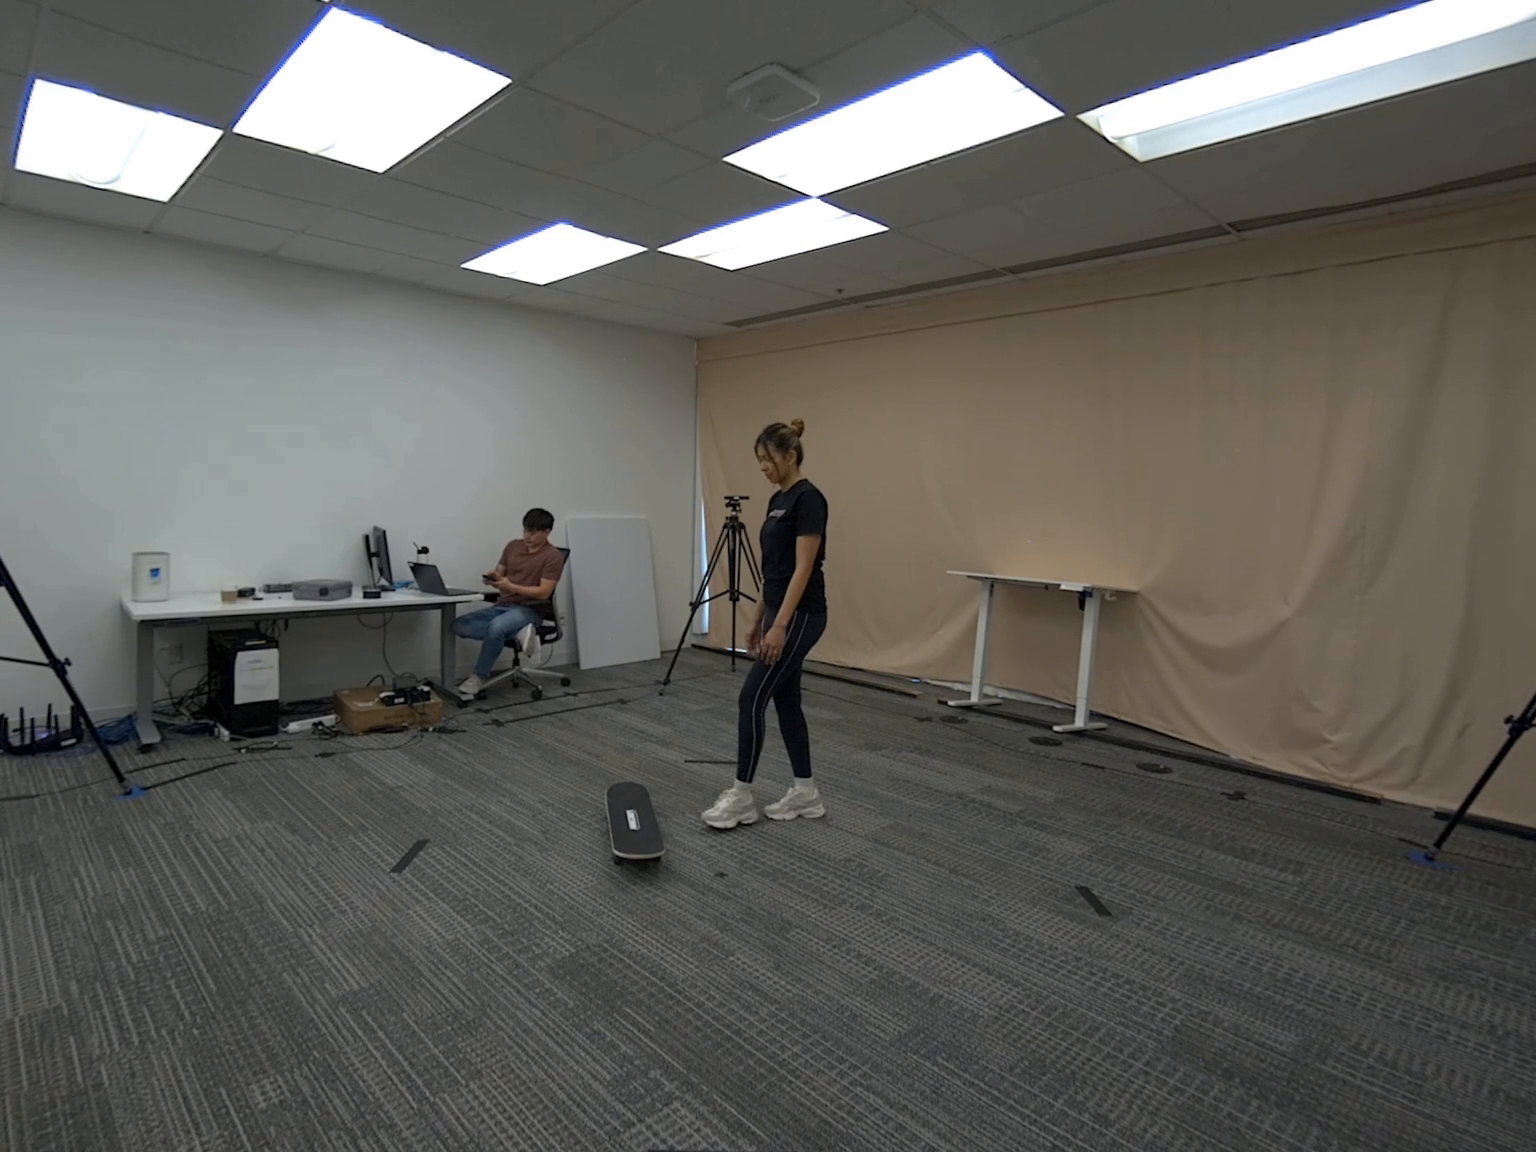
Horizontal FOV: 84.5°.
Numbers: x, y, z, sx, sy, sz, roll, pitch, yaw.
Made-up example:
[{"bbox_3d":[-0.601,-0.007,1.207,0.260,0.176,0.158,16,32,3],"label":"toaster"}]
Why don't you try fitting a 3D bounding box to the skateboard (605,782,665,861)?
[{"bbox_3d":[-0.556,1.013,3.385,0.191,0.110,0.796,0,5,-13],"label":"skateboard"}]
